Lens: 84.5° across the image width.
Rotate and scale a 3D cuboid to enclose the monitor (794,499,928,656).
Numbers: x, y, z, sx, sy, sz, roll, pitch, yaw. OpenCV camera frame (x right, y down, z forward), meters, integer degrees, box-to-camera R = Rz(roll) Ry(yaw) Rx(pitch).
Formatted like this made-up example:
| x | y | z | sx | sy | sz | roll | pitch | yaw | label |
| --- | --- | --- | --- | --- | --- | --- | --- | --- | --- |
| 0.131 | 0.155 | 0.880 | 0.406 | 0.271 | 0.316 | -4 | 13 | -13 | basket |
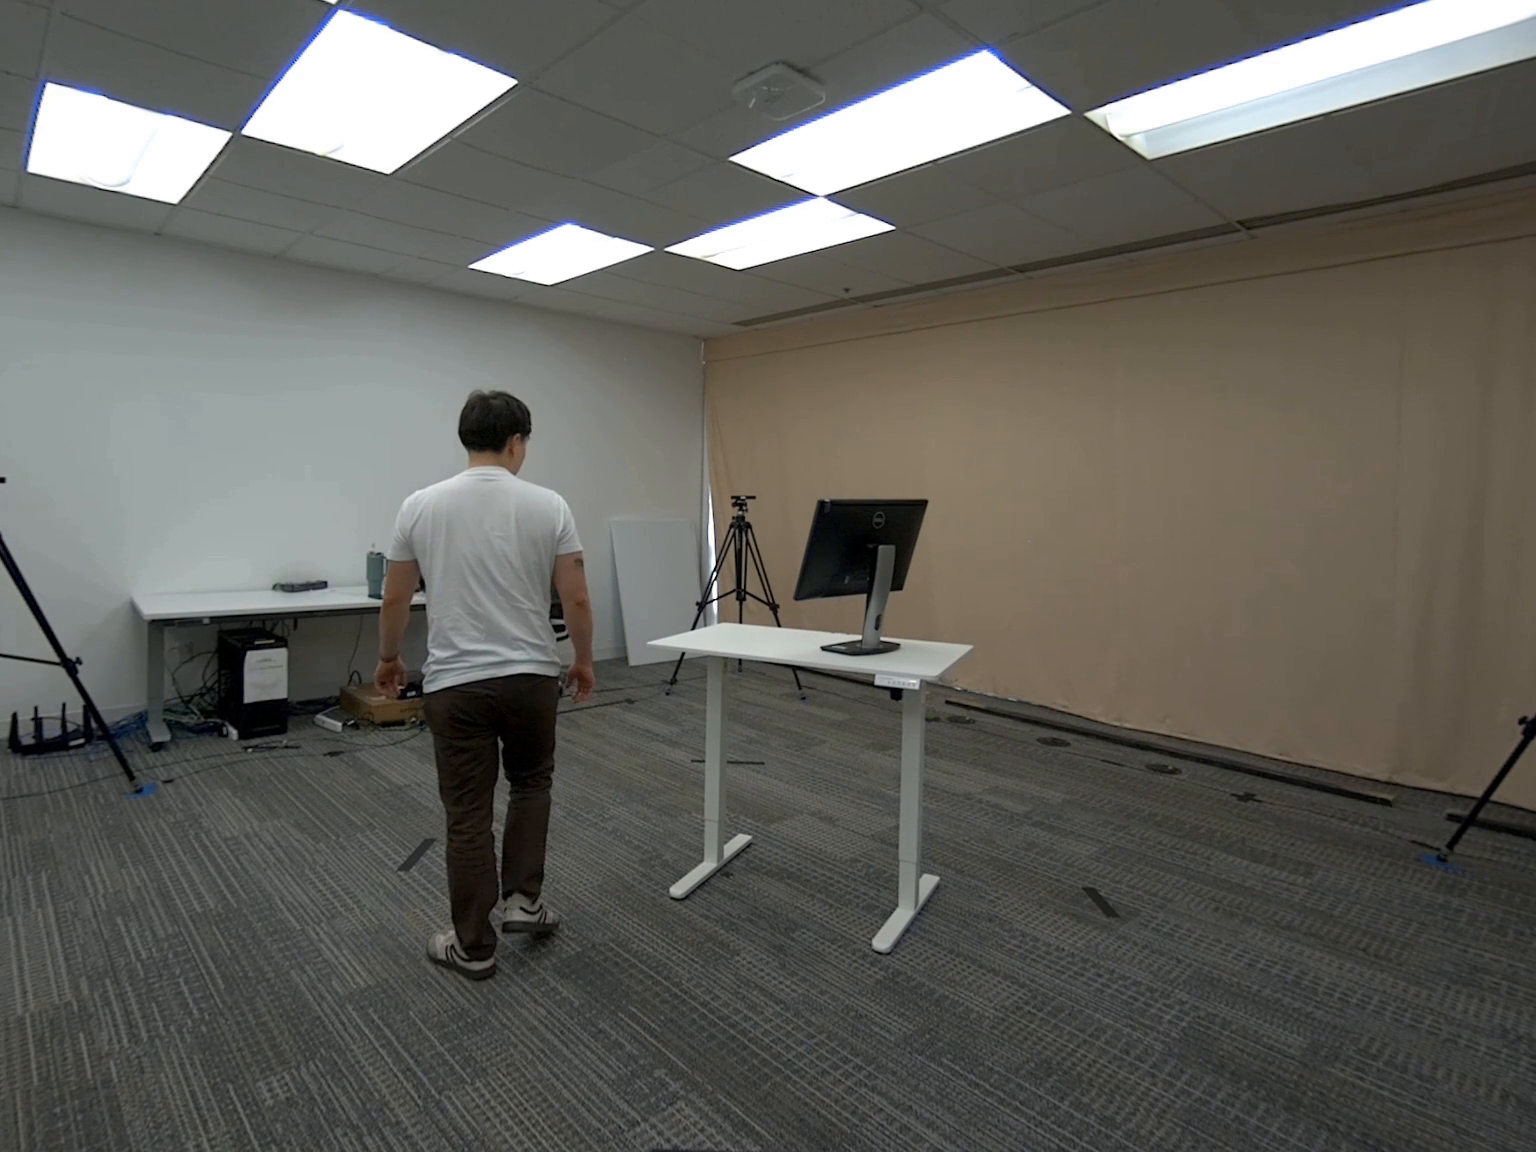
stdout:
| x | y | z | sx | sy | sz | roll | pitch | yaw | label |
| --- | --- | --- | --- | --- | --- | --- | --- | --- | --- |
| 0.336 | 0.001 | 2.862 | 0.527 | 0.520 | 0.192 | -3 | 10 | -42 | monitor |
